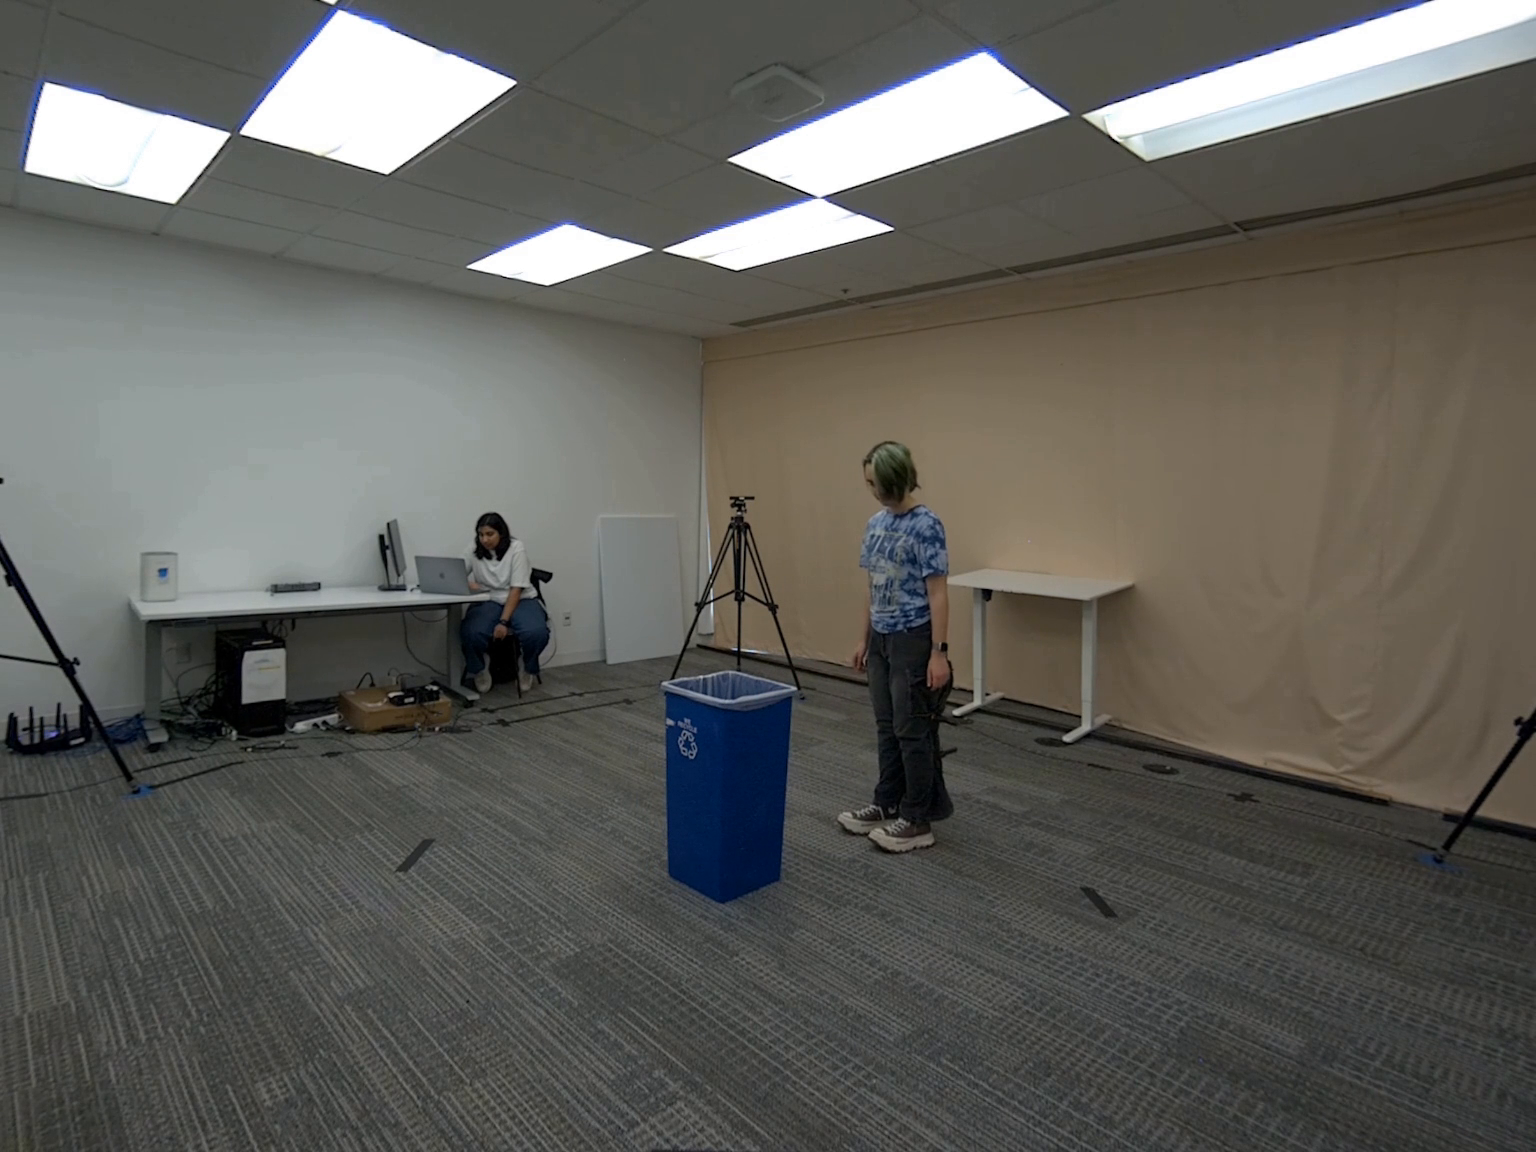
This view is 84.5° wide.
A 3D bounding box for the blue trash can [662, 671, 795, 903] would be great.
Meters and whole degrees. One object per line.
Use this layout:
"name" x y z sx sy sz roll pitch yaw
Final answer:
"blue trash can" -0.153 0.751 3.064 0.369 0.712 0.383 -3 5 -44
